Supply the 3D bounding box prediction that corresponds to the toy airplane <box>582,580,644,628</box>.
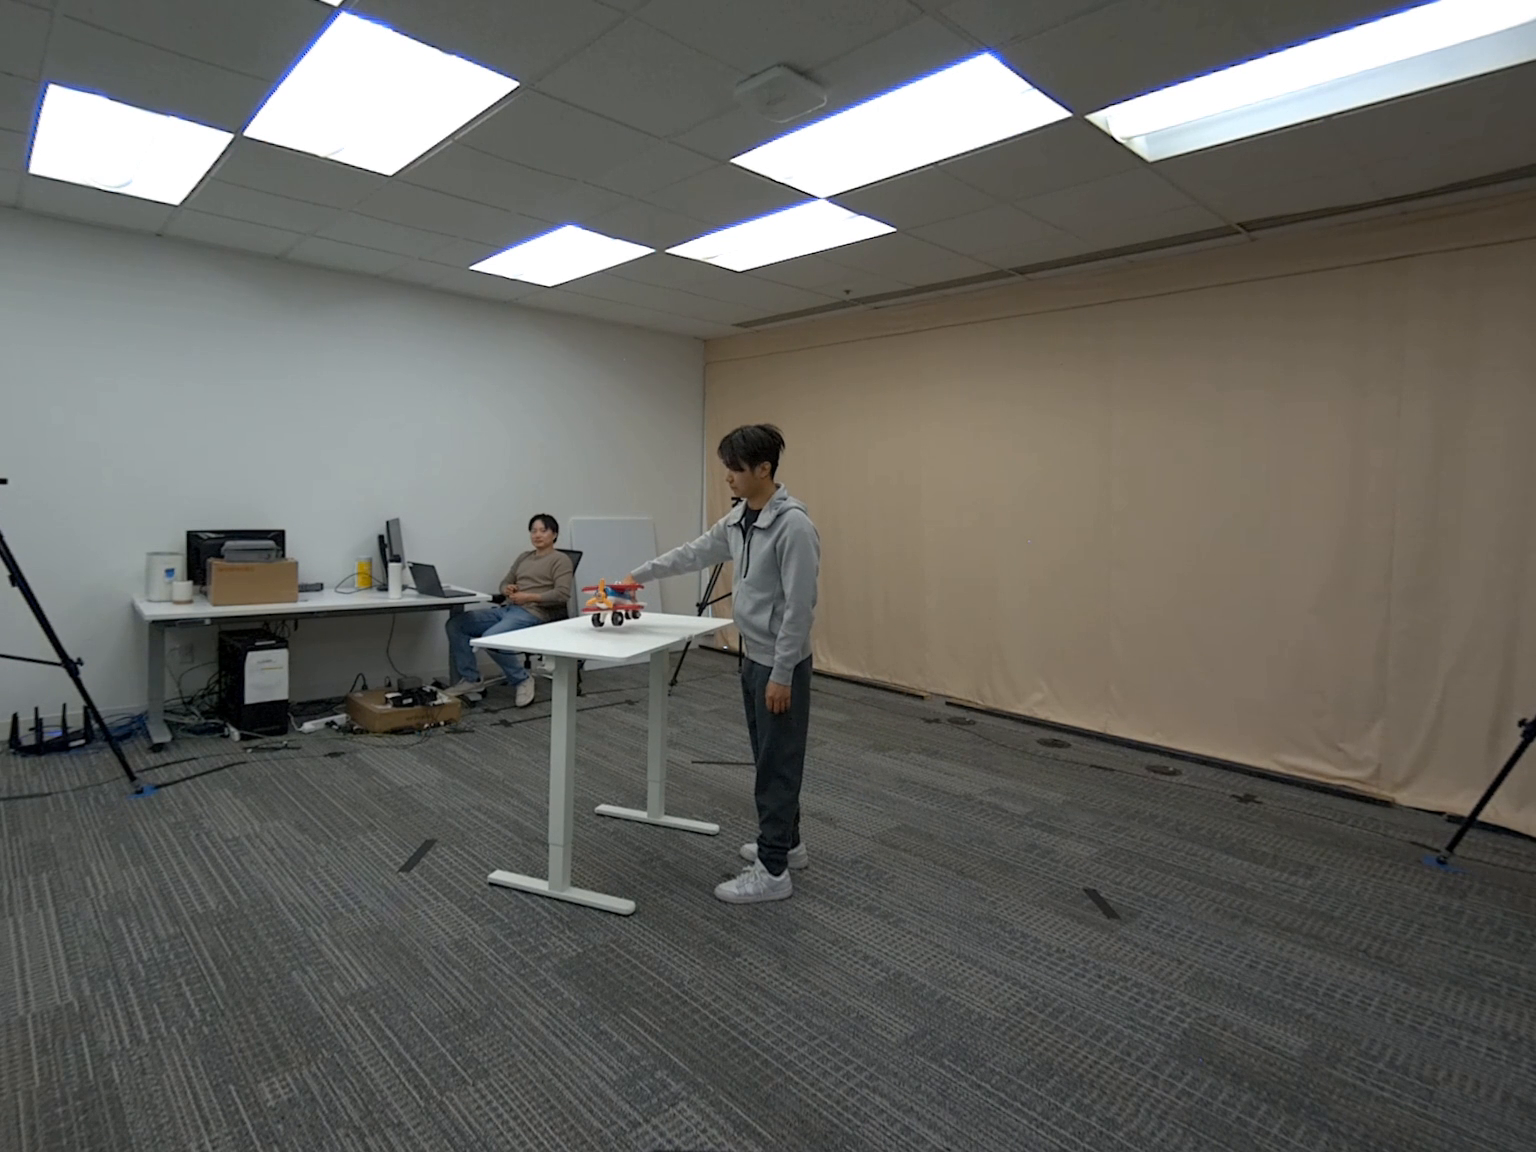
[{"bbox_3d":[-0.592,0.103,3.224,0.250,0.156,0.260,-7,3,-4],"label":"toy airplane"}]
